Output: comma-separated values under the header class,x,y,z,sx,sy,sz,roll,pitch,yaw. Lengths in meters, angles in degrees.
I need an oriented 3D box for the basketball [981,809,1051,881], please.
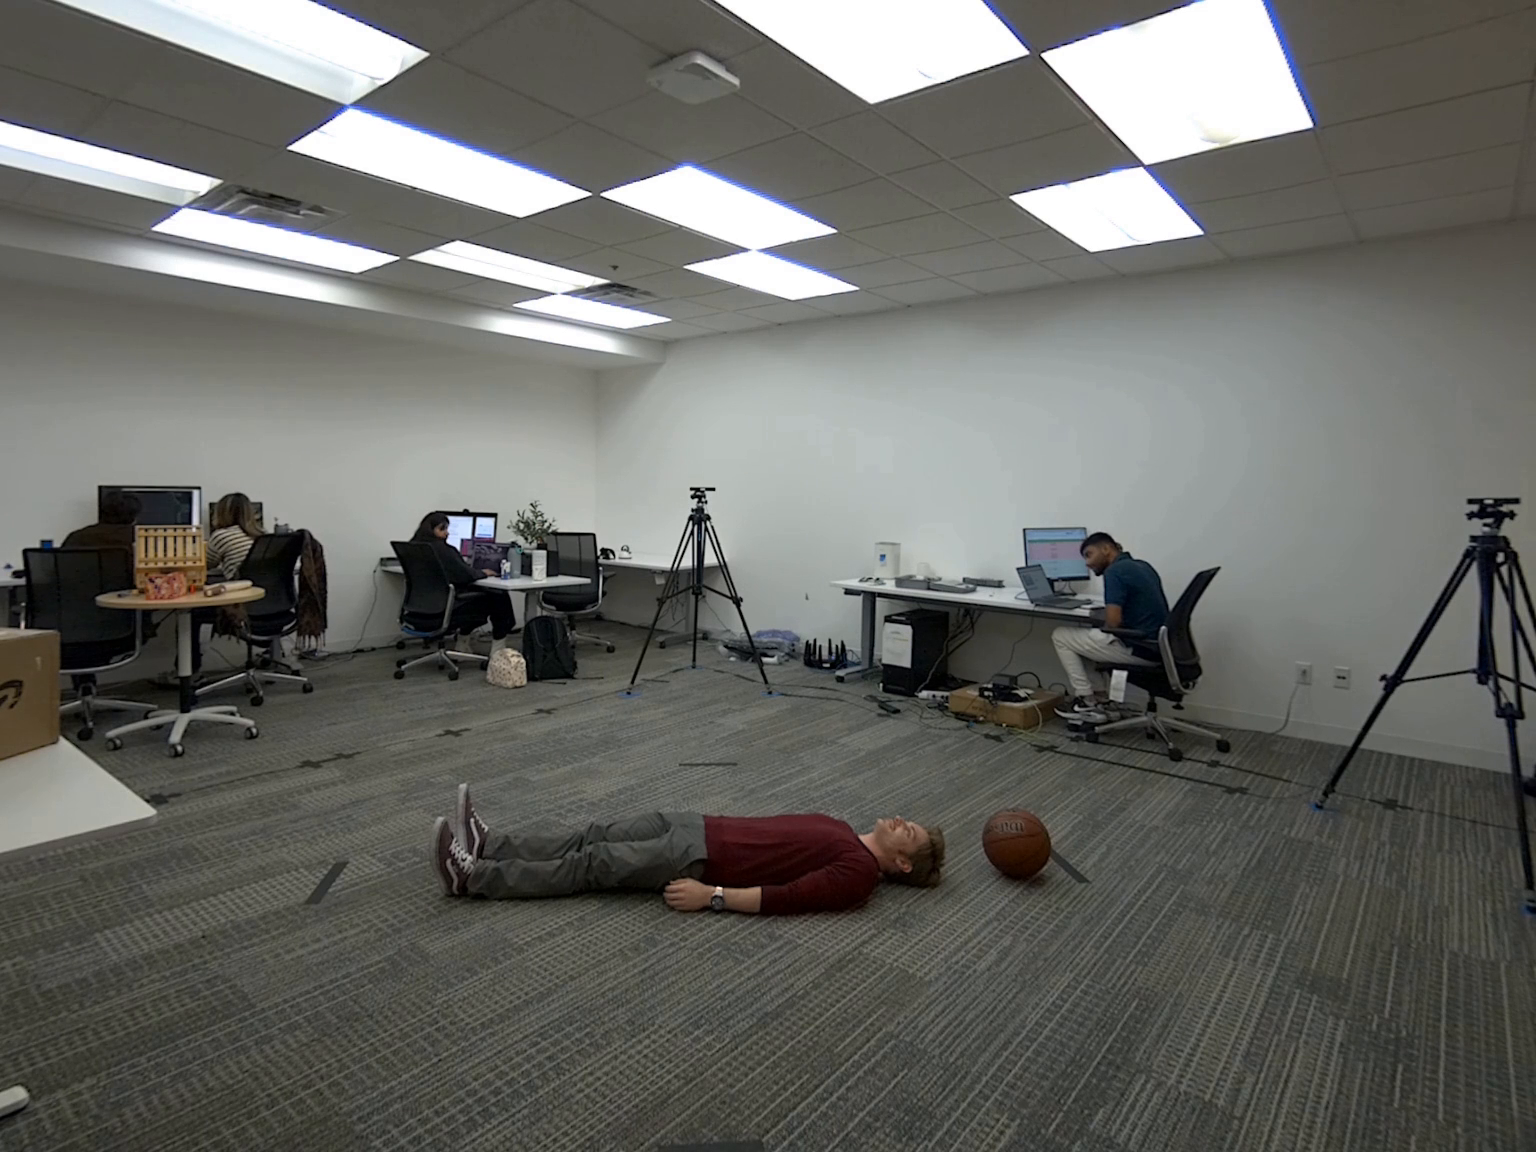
class,x,y,z,sx,sy,sz,roll,pitch,yaw
basketball,0.902,0.971,3.122,0.235,0.235,0.237,1,4,-2
